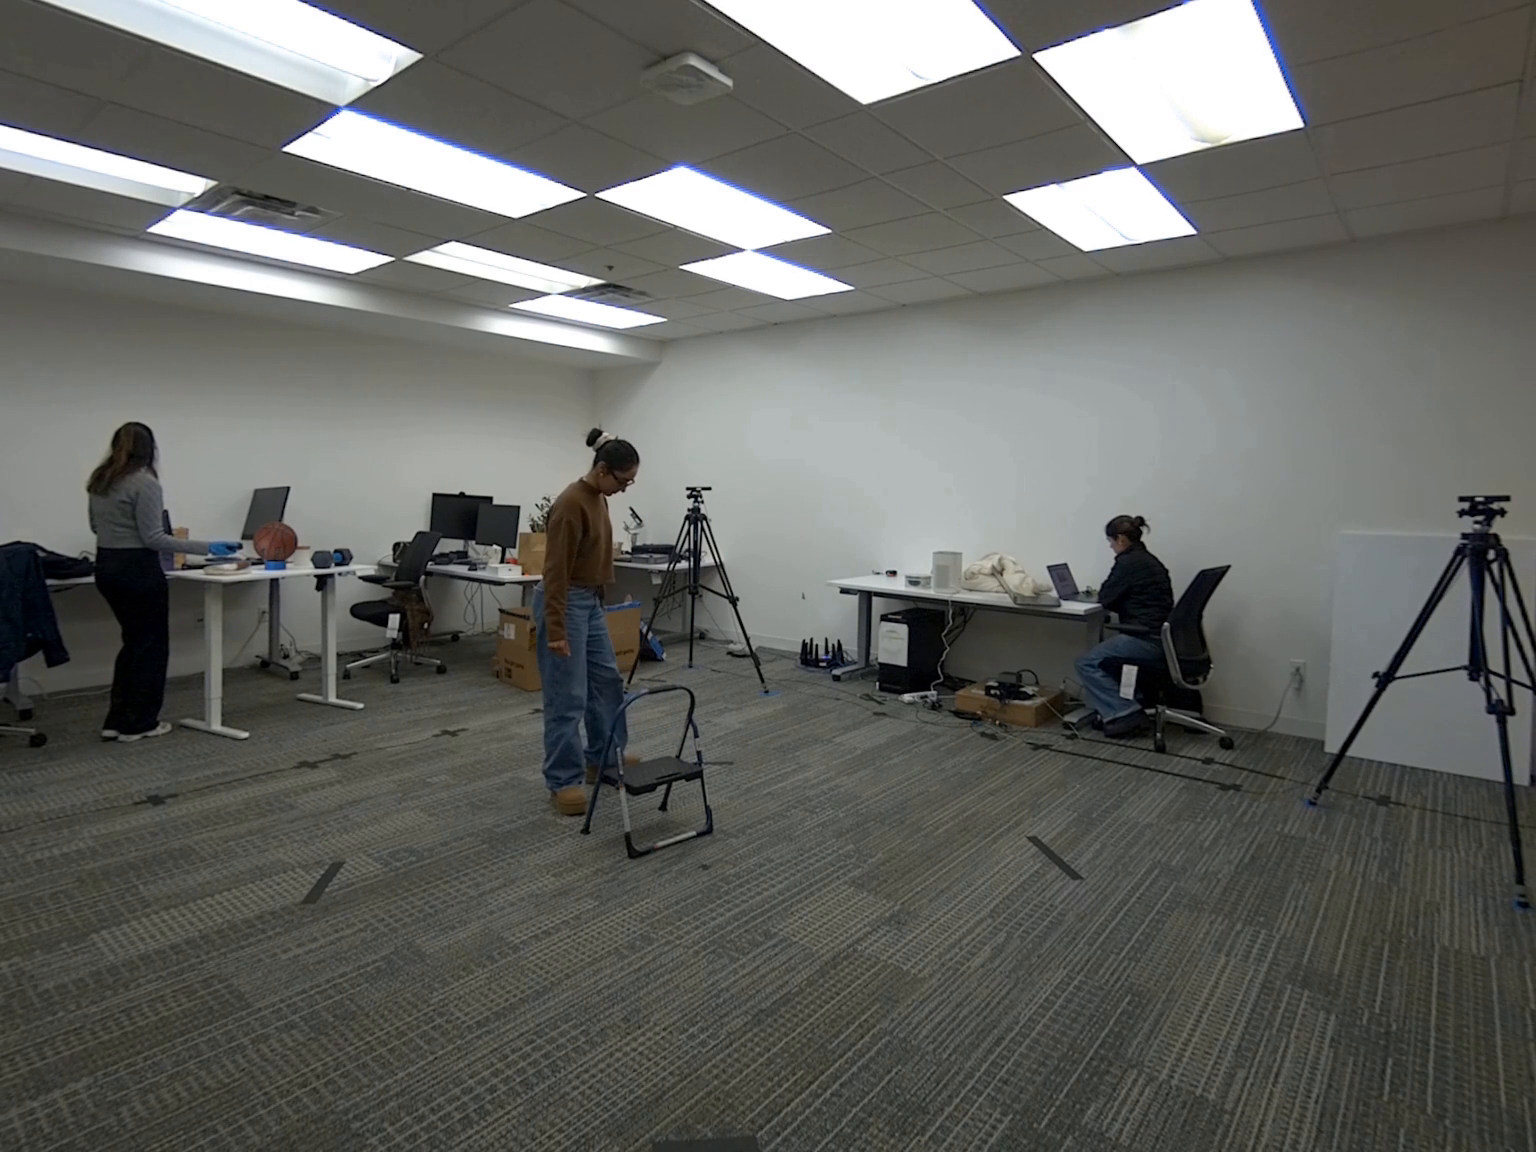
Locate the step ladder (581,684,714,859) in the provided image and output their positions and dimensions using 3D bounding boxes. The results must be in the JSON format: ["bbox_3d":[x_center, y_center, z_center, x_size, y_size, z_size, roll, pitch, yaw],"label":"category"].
[{"bbox_3d":[-0.490,0.727,3.414,0.417,0.604,0.361,-2,5,-44],"label":"step ladder"}]
